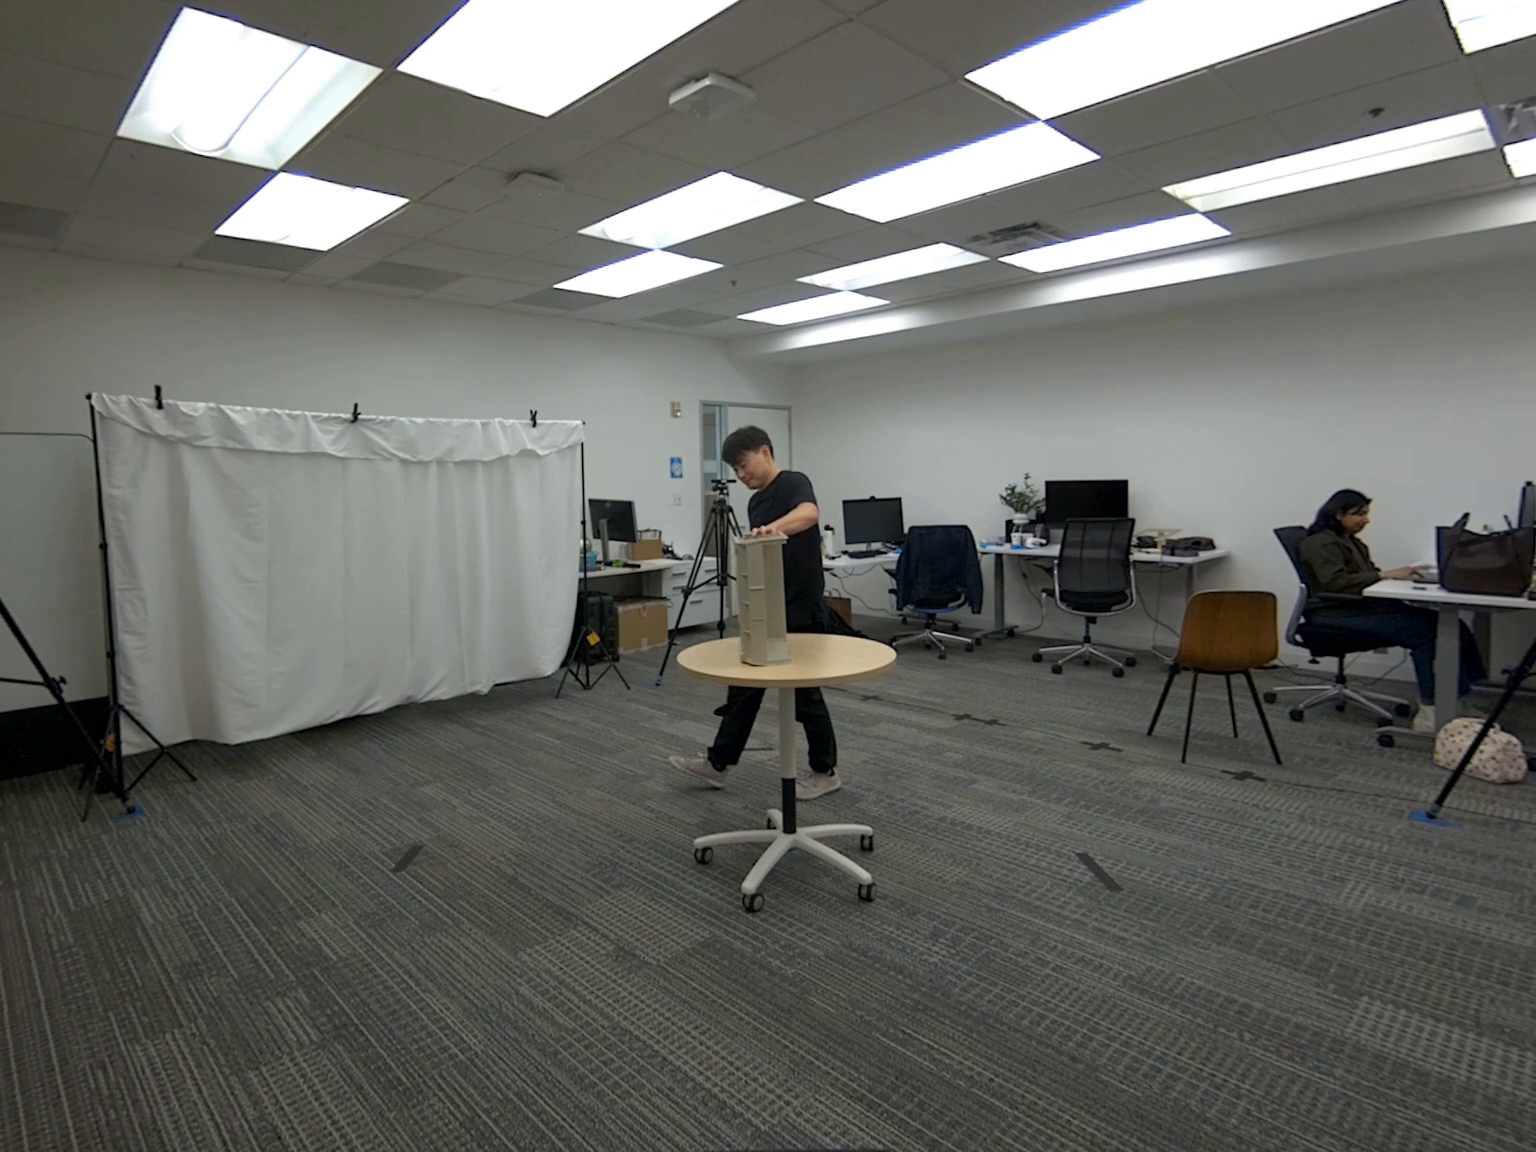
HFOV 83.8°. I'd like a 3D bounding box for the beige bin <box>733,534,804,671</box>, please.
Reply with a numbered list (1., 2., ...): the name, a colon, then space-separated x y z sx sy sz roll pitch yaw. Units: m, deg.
1. beige bin: -0.009 0.071 2.989 0.189 0.420 0.379 -5 5 -3
